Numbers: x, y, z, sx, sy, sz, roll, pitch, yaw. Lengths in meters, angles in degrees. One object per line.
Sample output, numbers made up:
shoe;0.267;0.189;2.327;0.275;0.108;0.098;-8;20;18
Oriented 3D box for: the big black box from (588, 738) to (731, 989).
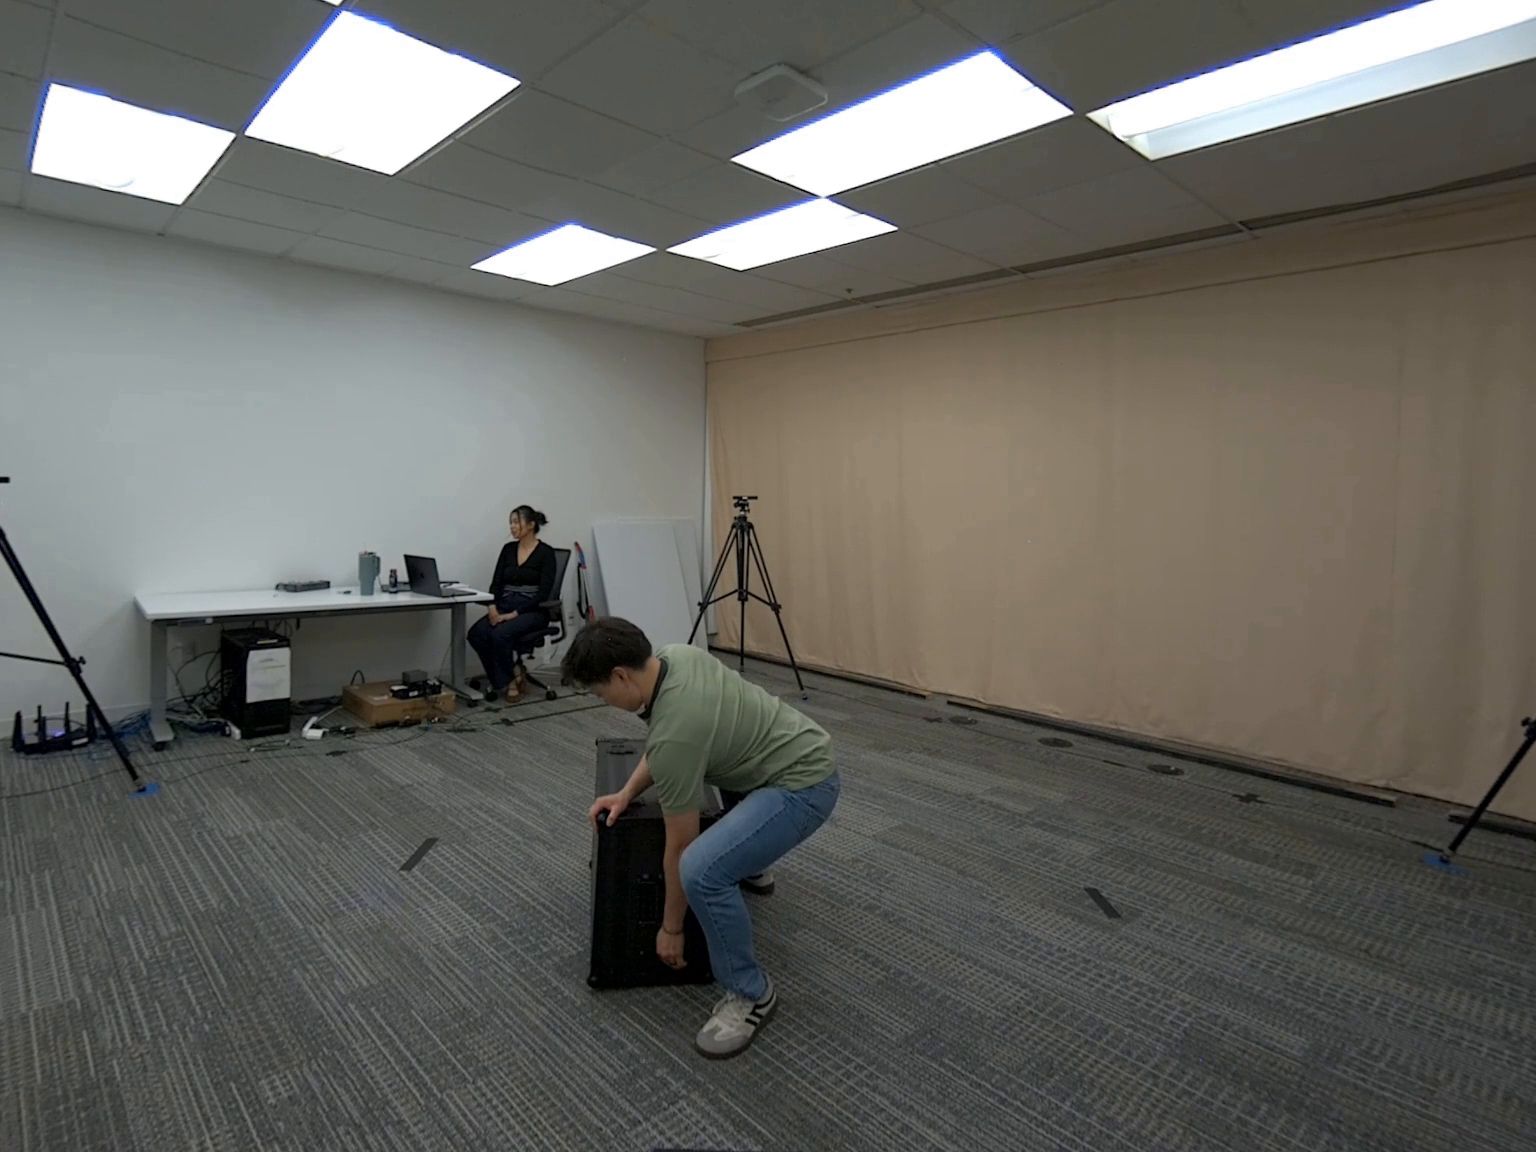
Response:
big black box;-0.388;0.868;2.778;0.393;0.520;0.871;2;4;-11
